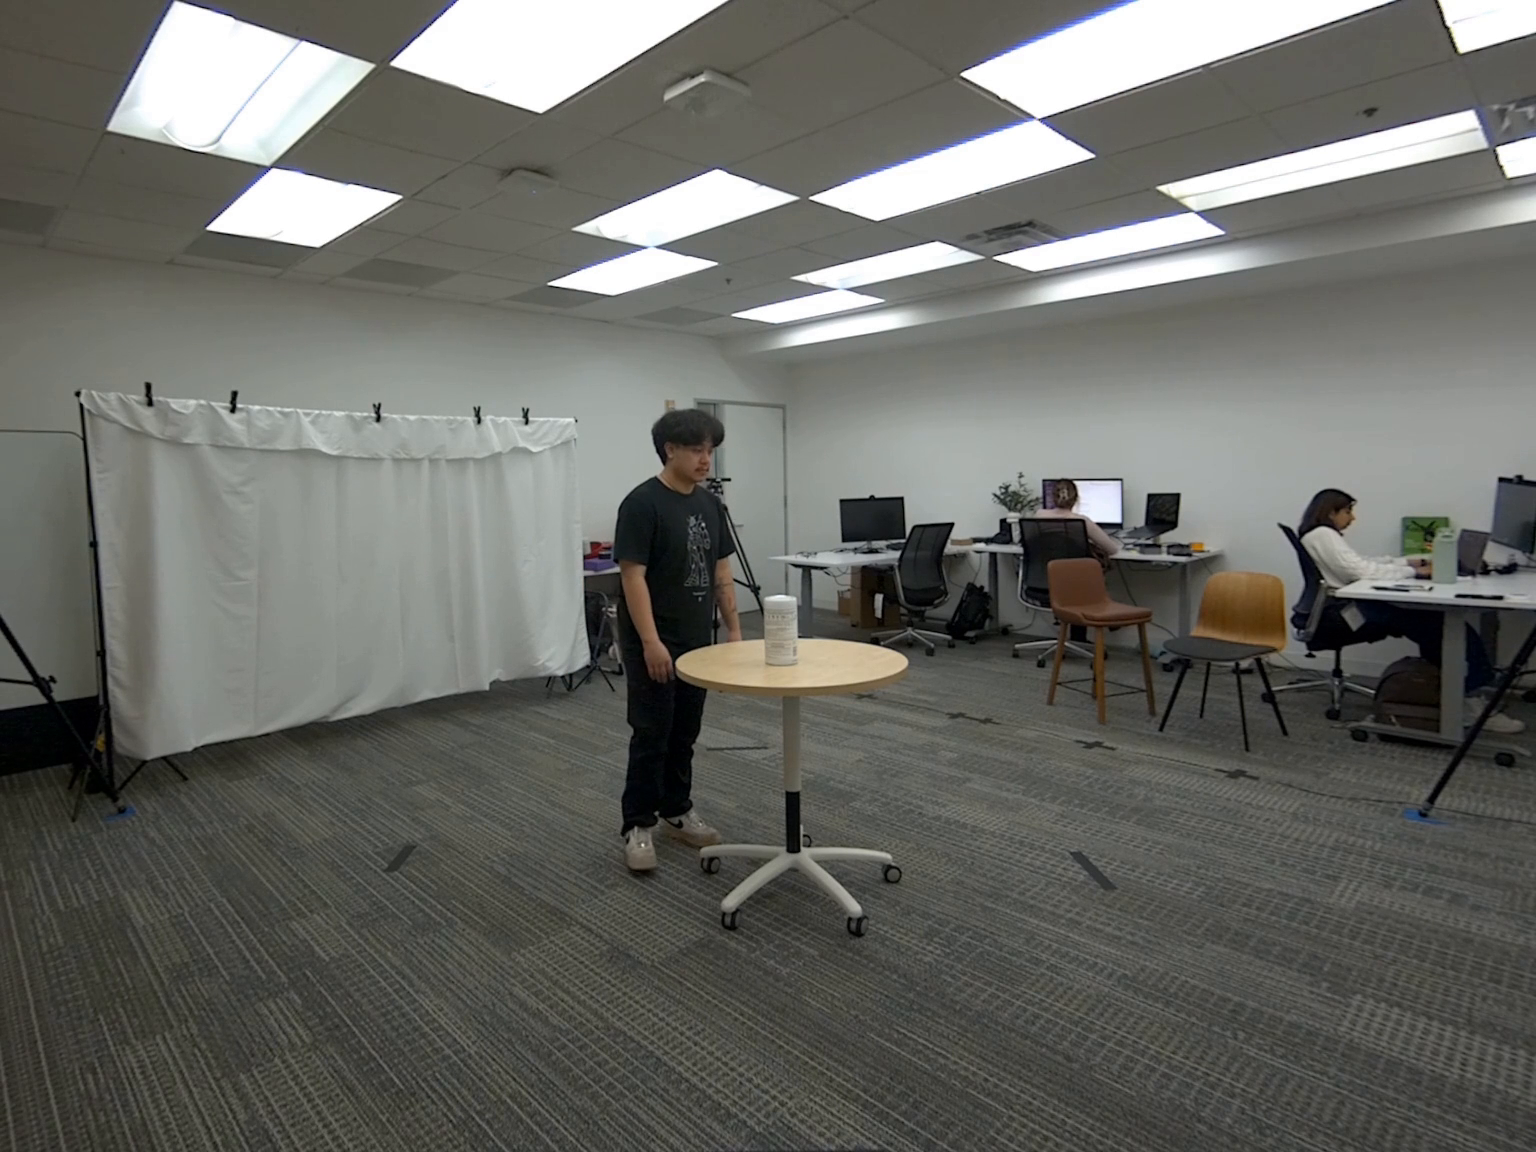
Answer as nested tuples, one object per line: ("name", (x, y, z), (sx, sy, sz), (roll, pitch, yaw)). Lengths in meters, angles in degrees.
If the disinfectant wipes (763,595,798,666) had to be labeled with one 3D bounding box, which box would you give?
("disinfectant wipes", (0.048, 0.176, 2.790), (0.118, 0.217, 0.118), (-1, 3, -2))
